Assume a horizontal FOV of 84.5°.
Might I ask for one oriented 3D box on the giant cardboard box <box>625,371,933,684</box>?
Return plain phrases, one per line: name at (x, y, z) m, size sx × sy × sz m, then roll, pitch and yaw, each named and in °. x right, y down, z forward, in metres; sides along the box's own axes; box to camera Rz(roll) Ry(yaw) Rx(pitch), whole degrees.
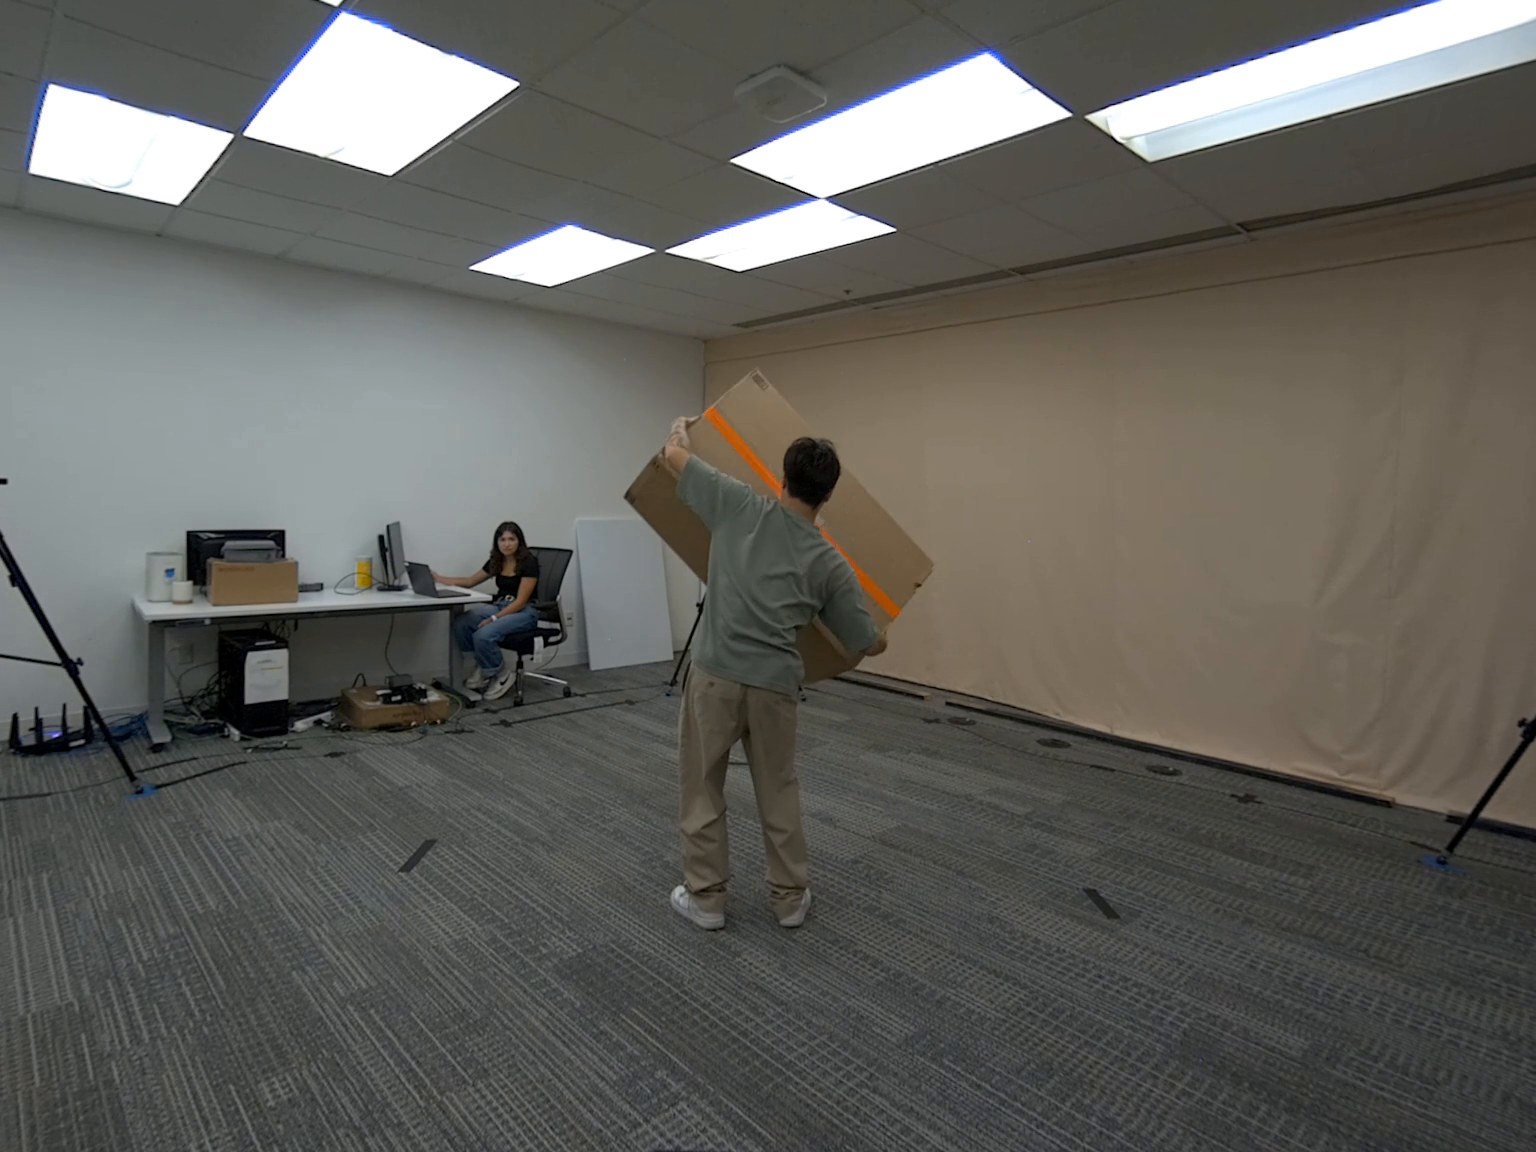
giant cardboard box at (0.036, -0.169, 3.227) m, size 0.577 × 1.023 × 0.428 m, roll -45°, pitch 4°, yaw -28°
